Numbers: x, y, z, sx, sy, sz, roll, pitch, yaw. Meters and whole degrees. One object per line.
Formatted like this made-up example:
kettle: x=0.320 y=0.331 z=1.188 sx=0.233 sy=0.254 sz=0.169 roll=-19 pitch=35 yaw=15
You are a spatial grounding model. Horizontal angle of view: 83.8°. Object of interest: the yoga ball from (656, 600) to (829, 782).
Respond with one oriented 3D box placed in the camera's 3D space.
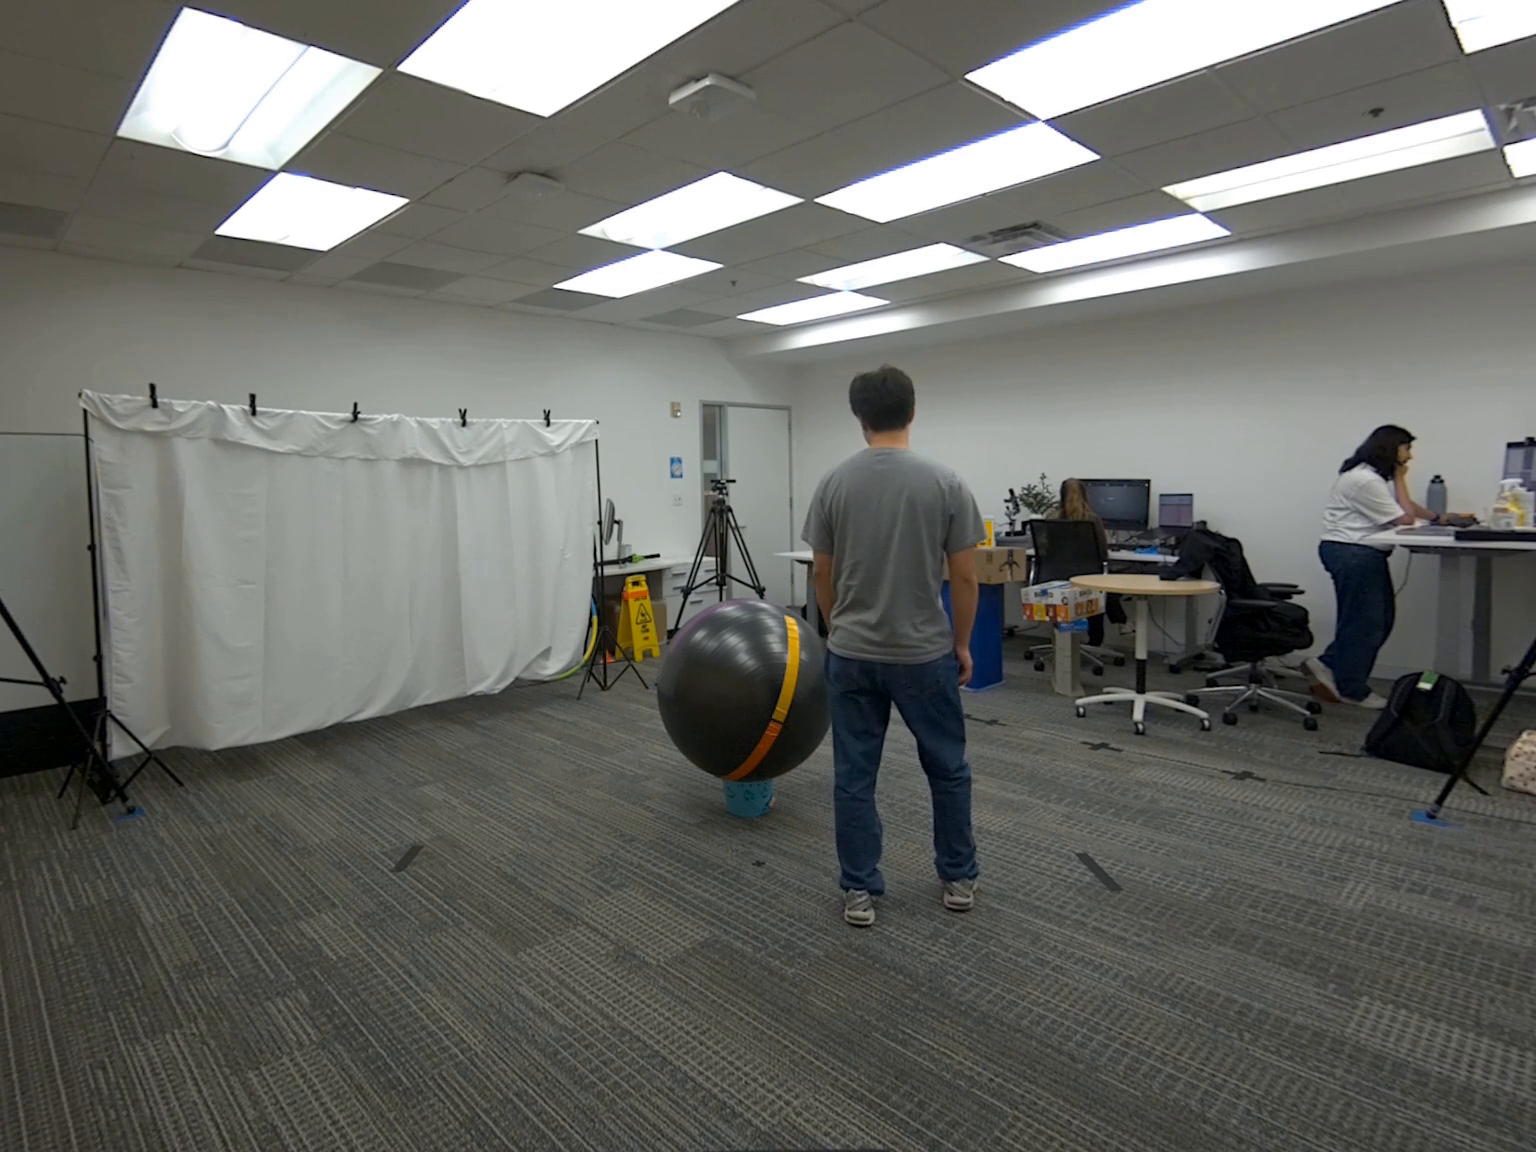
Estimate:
yoga ball: x=-0.093 y=0.479 z=3.611 sx=0.757 sy=0.755 sz=0.762 roll=-1 pitch=5 yaw=-2
